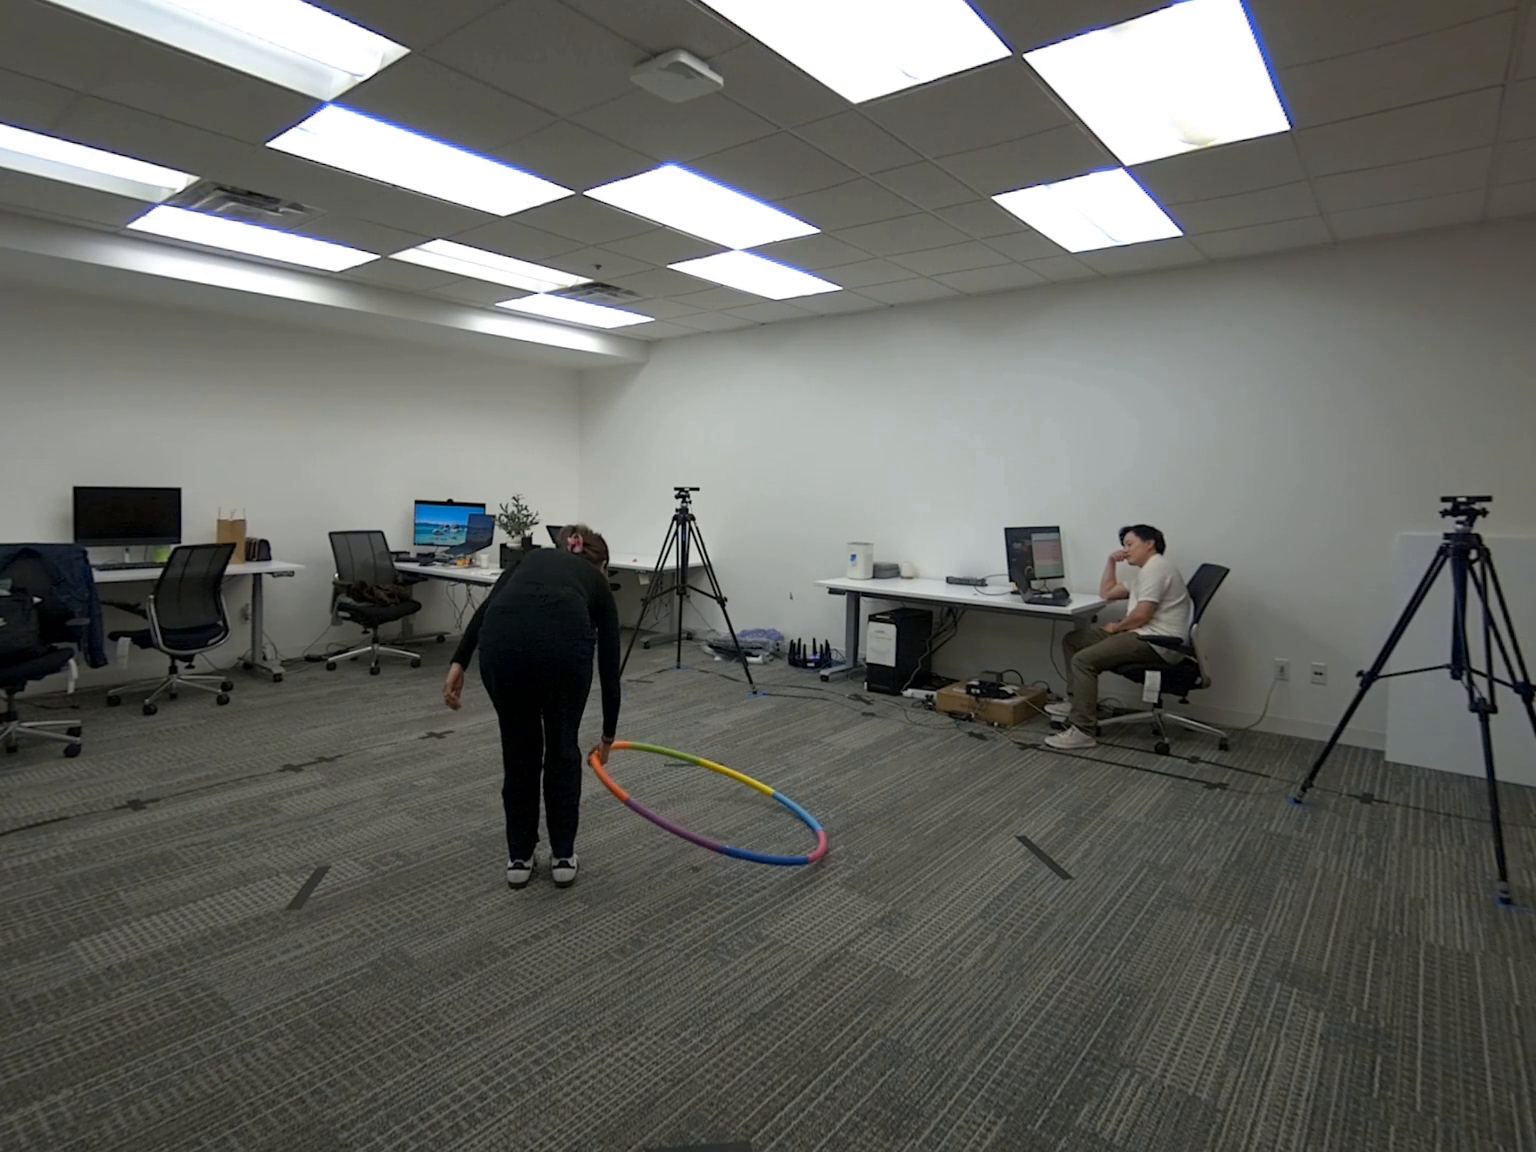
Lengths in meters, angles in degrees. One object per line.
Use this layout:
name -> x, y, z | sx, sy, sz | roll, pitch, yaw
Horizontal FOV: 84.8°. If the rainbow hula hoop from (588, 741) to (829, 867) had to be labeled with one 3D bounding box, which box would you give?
rainbow hula hoop -> -0.238, 0.867, 3.364 | 0.984, 0.051, 0.987 | 20, 1, -2
